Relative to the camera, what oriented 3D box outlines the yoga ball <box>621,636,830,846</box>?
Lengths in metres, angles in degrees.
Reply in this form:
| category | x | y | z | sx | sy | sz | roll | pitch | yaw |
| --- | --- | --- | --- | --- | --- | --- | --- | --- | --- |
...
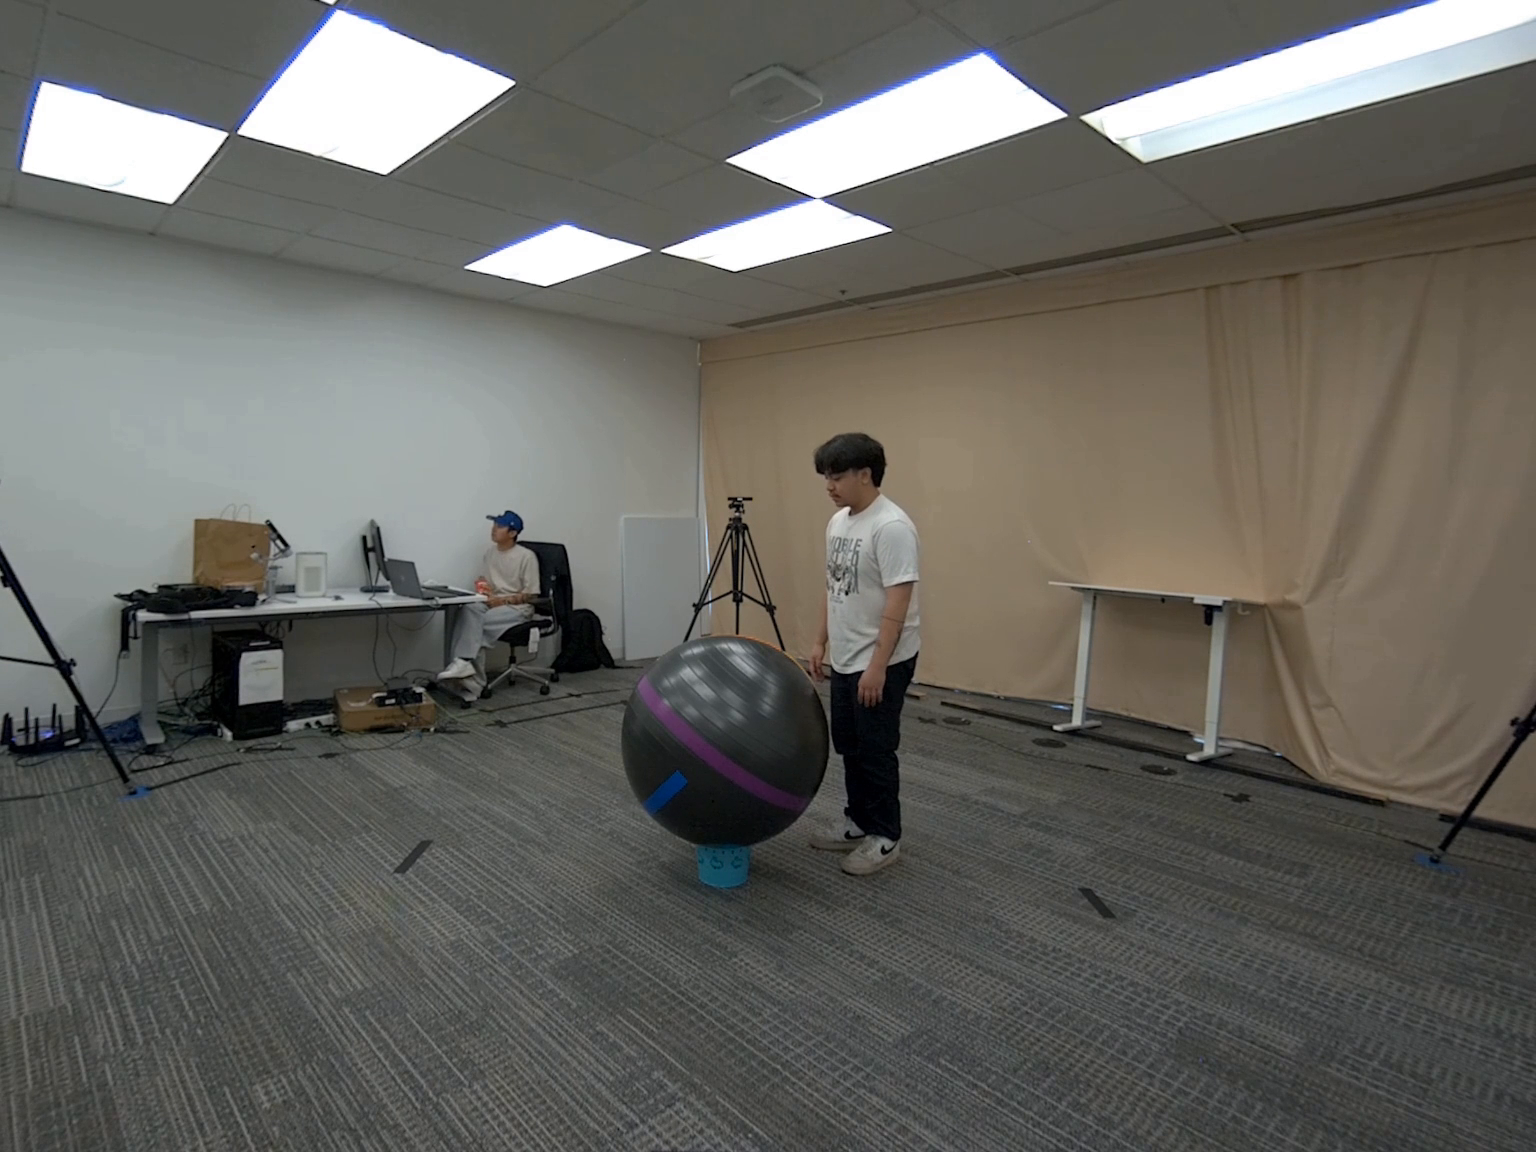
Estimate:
| category | x | y | z | sx | sy | sz | roll | pitch | yaw |
| --- | --- | --- | --- | --- | --- | --- | --- | --- | --- |
| yoga ball | -0.156 | 0.595 | 3.090 | 0.757 | 0.756 | 0.761 | 1 | 4 | -1 |
